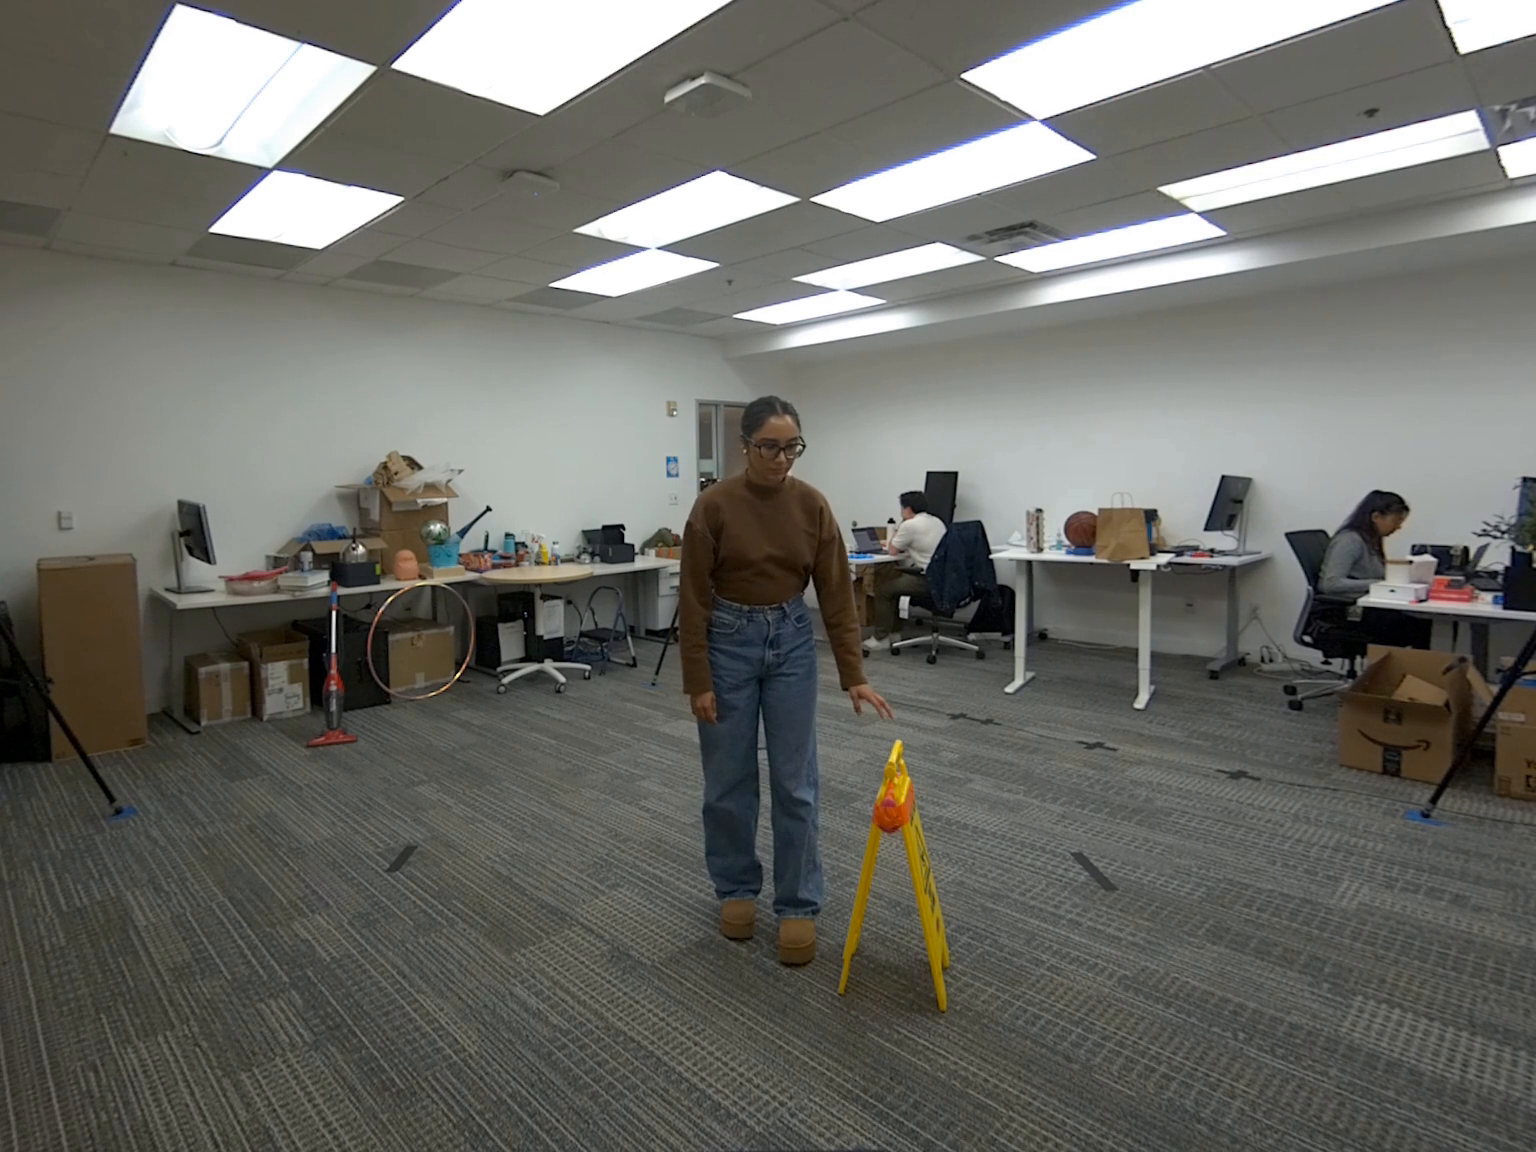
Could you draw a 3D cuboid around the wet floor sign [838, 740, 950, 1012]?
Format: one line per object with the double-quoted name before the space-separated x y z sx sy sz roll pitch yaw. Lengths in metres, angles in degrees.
"wet floor sign" 0.361 0.797 2.369 0.294 0.643 0.279 -1 5 16
